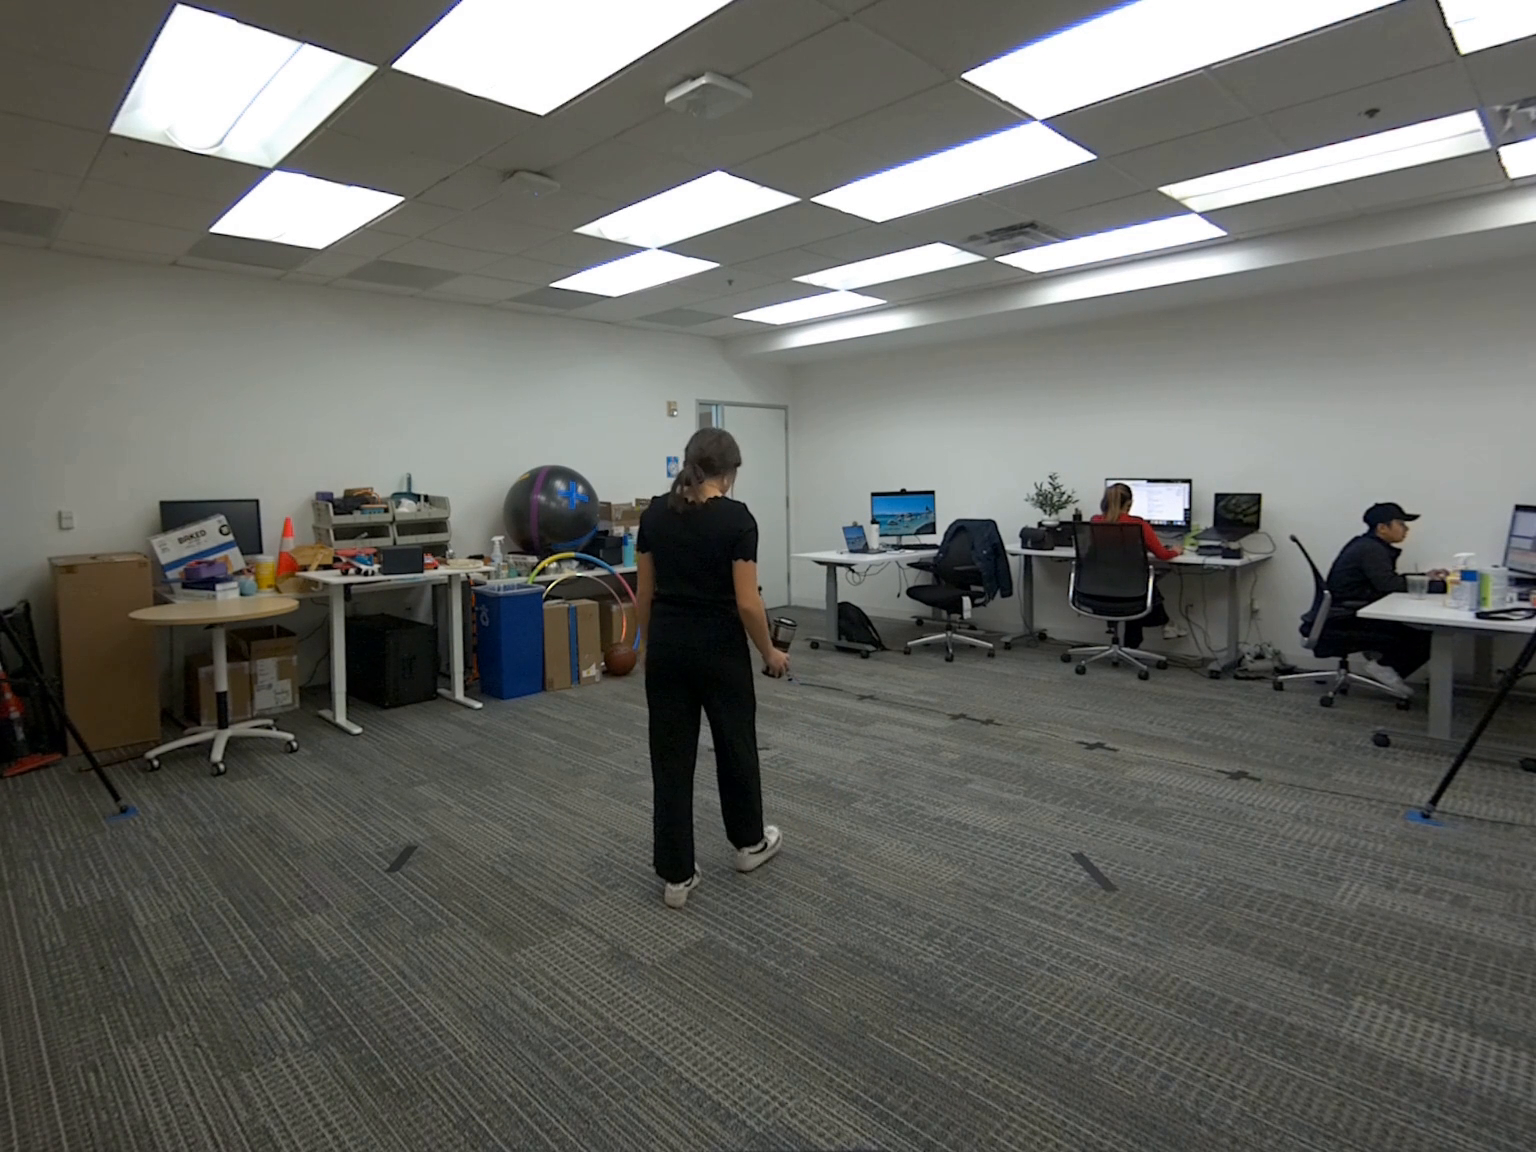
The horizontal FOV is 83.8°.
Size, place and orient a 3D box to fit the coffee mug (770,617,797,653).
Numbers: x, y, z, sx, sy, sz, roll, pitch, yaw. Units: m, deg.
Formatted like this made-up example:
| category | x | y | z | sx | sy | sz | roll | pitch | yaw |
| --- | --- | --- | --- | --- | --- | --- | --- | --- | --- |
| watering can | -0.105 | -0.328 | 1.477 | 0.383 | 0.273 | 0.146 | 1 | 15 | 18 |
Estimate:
| category | x | y | z | sx | sy | sz | roll | pitch | yaw |
| --- | --- | --- | --- | --- | --- | --- | --- | --- | --- |
| coffee mug | 0.042 | 0.251 | 2.995 | 0.088 | 0.202 | 0.122 | 13 | 6 | 4 |
